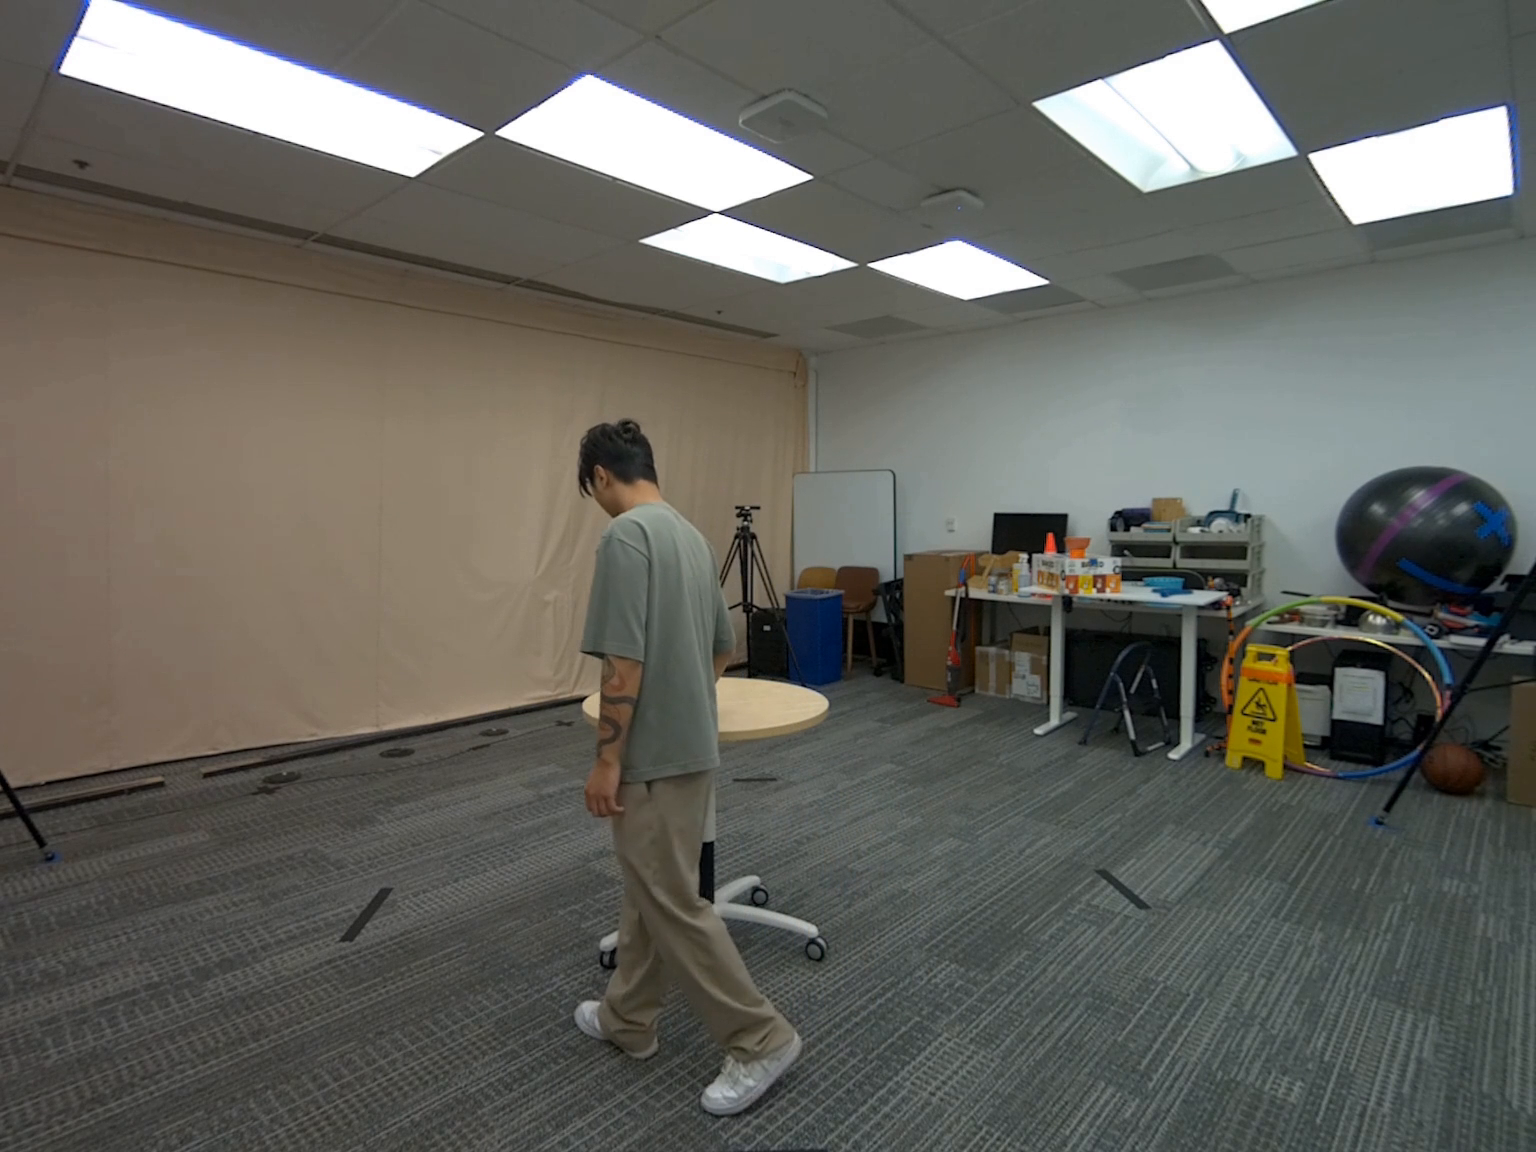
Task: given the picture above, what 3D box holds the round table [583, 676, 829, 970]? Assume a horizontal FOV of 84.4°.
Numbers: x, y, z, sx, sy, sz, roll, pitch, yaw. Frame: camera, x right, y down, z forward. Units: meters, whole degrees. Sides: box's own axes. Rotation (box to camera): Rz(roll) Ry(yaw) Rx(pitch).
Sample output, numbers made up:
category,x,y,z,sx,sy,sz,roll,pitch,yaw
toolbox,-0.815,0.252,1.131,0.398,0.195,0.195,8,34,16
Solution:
category,x,y,z,sx,sy,sz,roll,pitch,yaw
round table,-0.188,0.786,2.648,0.763,0.792,0.766,0,3,-2
